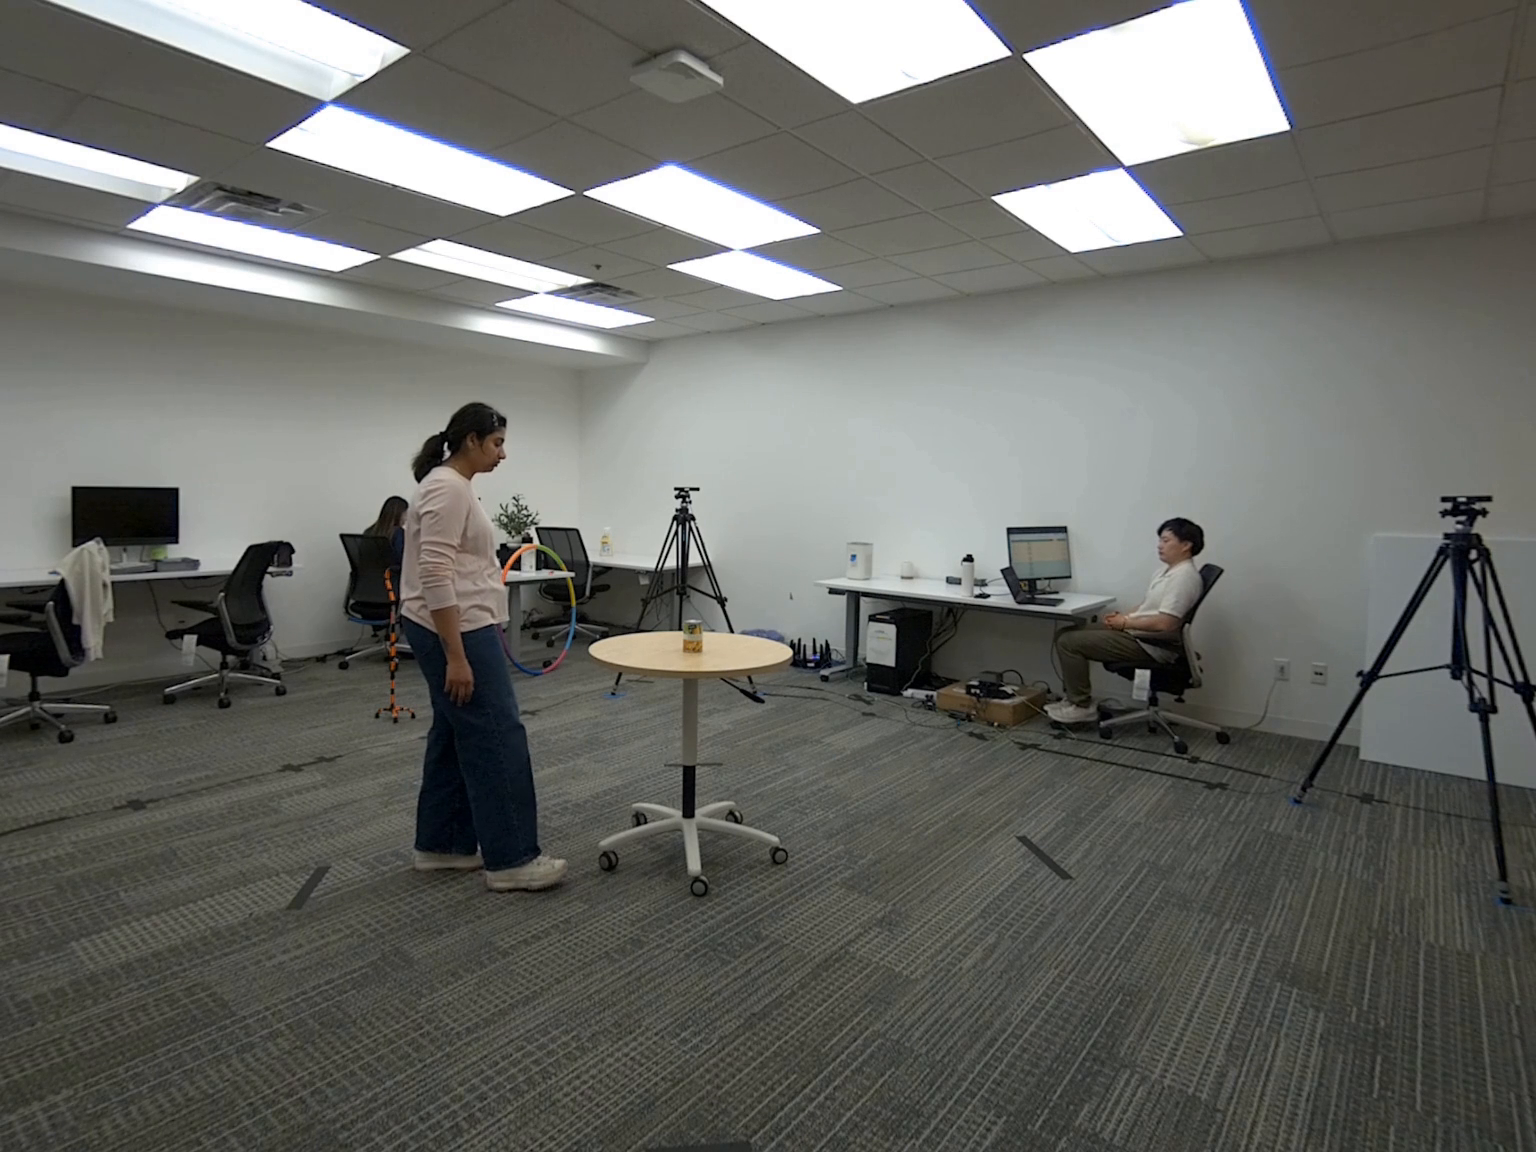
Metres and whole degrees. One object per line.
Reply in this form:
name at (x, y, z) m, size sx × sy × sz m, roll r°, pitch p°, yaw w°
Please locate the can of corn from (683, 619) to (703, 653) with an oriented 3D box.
can of corn at (-0.290, 0.223, 3.154) m, size 0.074 × 0.110 × 0.075 m, roll 1°, pitch 5°, yaw -2°
